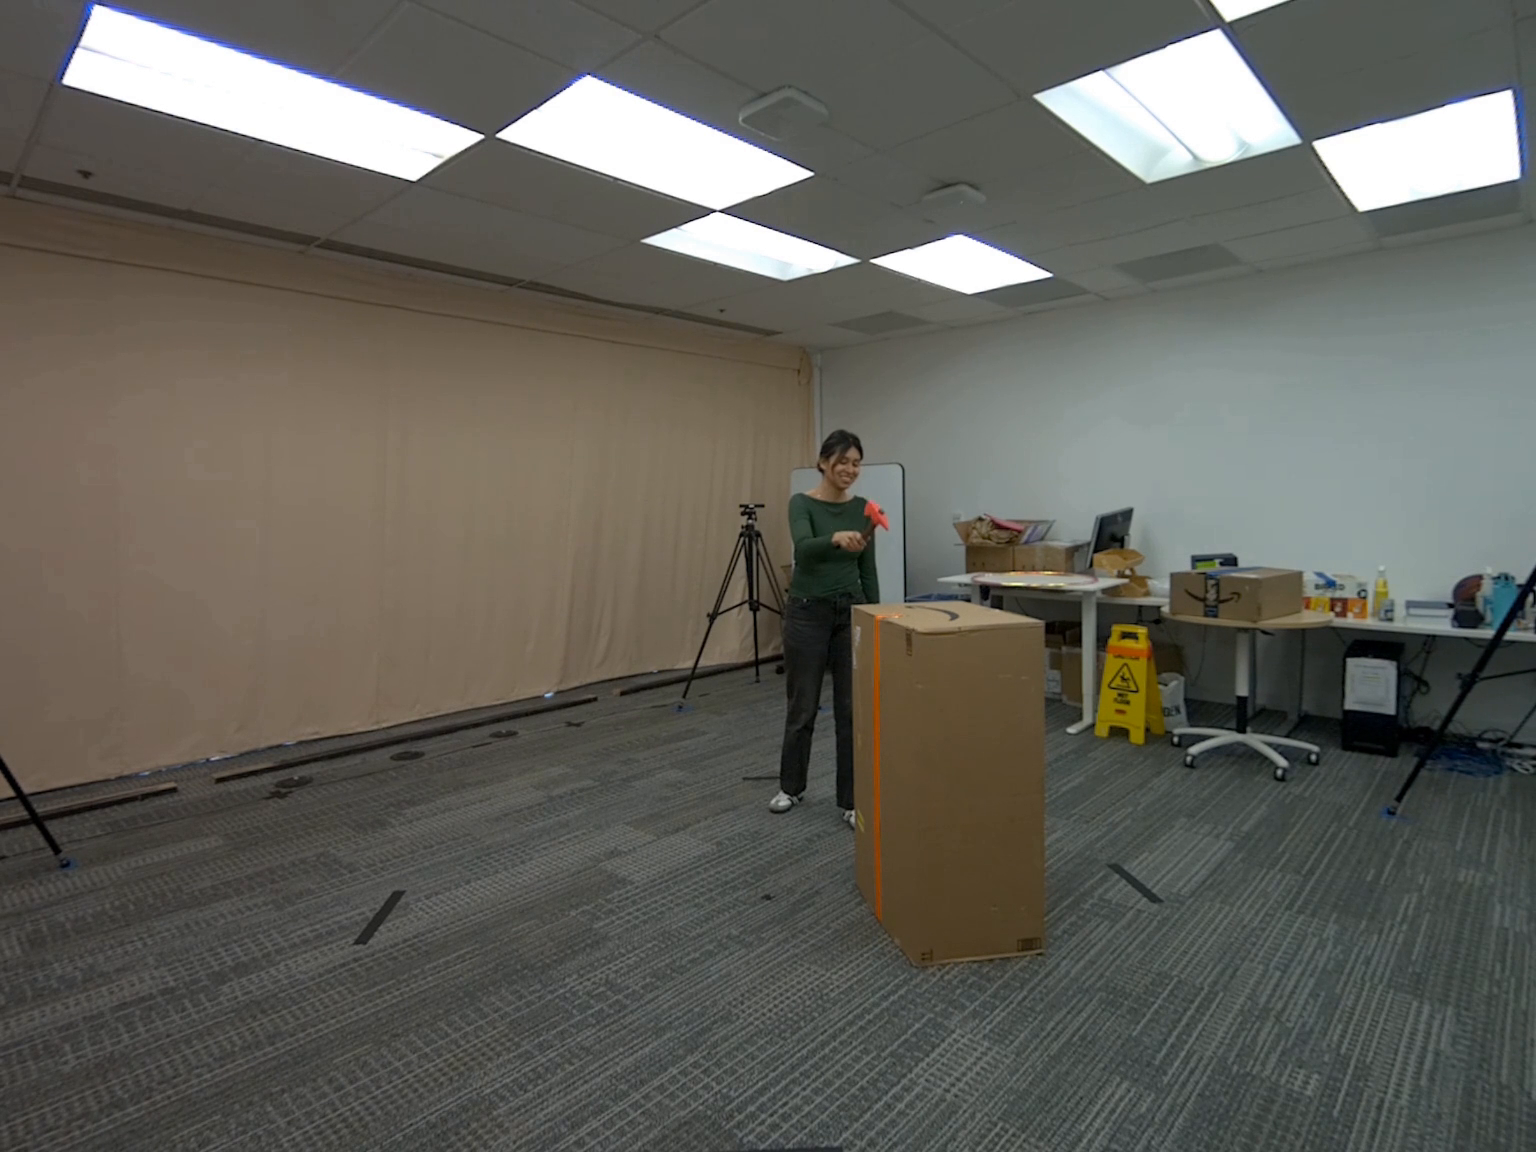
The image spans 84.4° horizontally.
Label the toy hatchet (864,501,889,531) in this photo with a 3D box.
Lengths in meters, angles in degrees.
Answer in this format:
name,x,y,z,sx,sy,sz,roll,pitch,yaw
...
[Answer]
name,x,y,z,sx,sy,sz,roll,pitch,yaw
toy hatchet,0.343,-0.185,3.046,0.029,0.132,0.274,-13,-9,-28
